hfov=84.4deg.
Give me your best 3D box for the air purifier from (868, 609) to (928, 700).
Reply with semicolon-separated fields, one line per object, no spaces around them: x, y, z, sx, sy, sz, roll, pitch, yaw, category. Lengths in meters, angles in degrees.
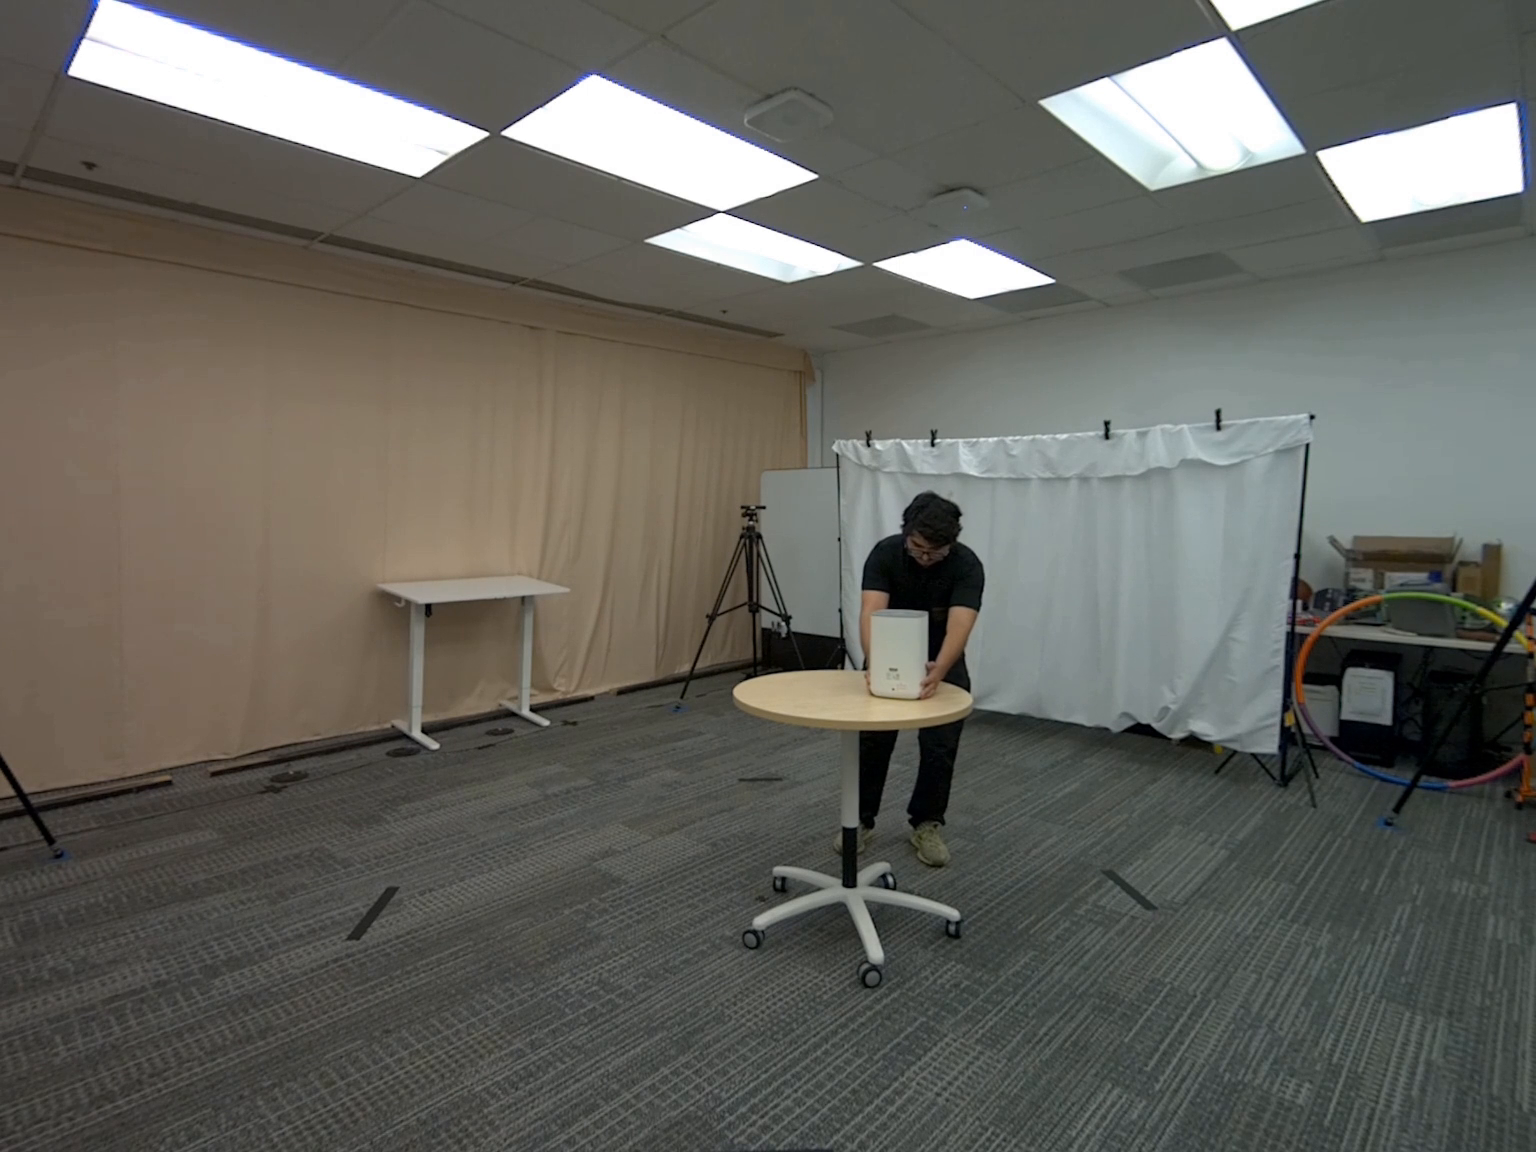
0.426;0.249;2.696;0.175;0.265;0.168;1;3;22;air purifier
